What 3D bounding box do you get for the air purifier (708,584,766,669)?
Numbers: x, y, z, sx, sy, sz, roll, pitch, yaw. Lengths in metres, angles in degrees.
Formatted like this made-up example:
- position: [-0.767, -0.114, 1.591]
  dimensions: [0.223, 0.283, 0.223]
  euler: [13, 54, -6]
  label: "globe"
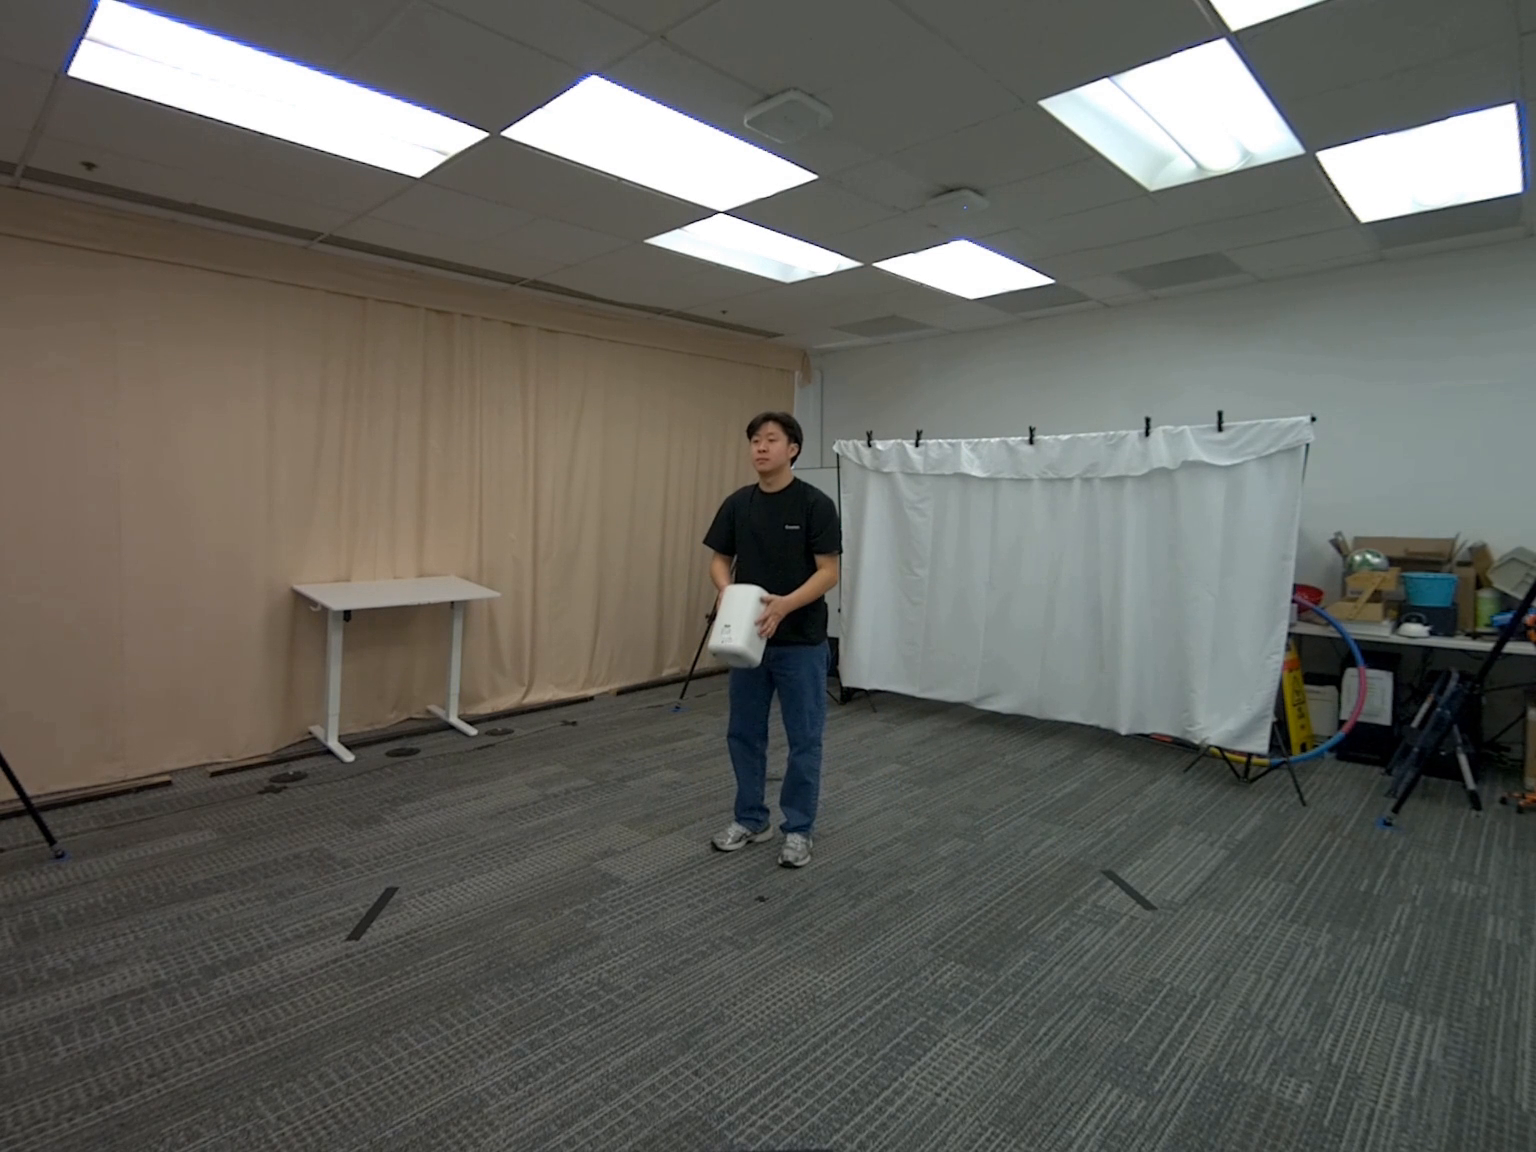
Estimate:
- position: [-0.087, 0.188, 3.062]
  dimensions: [0.176, 0.267, 0.165]
  euler: [0, -29, 34]
  label: "air purifier"
